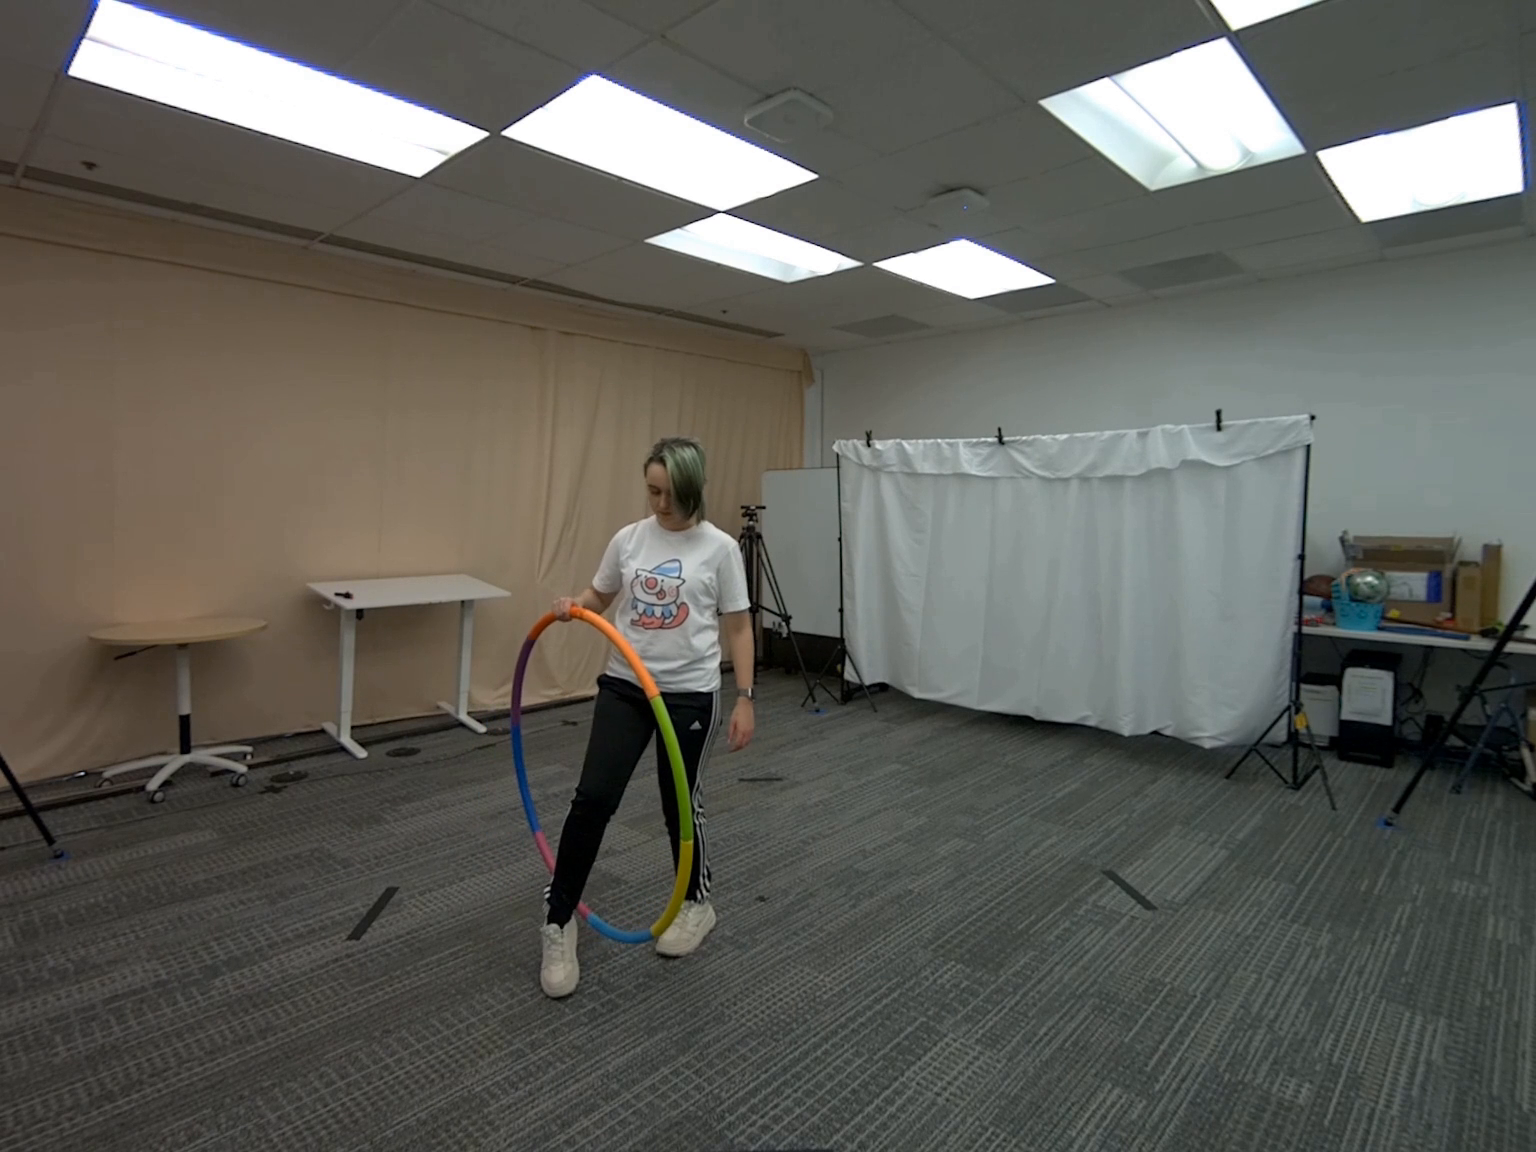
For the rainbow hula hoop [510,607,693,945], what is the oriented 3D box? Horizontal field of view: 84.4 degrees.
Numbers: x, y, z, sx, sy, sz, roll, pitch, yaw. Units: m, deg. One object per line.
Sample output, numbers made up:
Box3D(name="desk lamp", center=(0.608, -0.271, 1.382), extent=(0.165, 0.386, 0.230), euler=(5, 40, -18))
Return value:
Box3D(name="rainbow hula hoop", center=(-0.532, 0.588, 2.513), extent=(0.034, 0.975, 1.011), euler=(-8, 8, -42))
